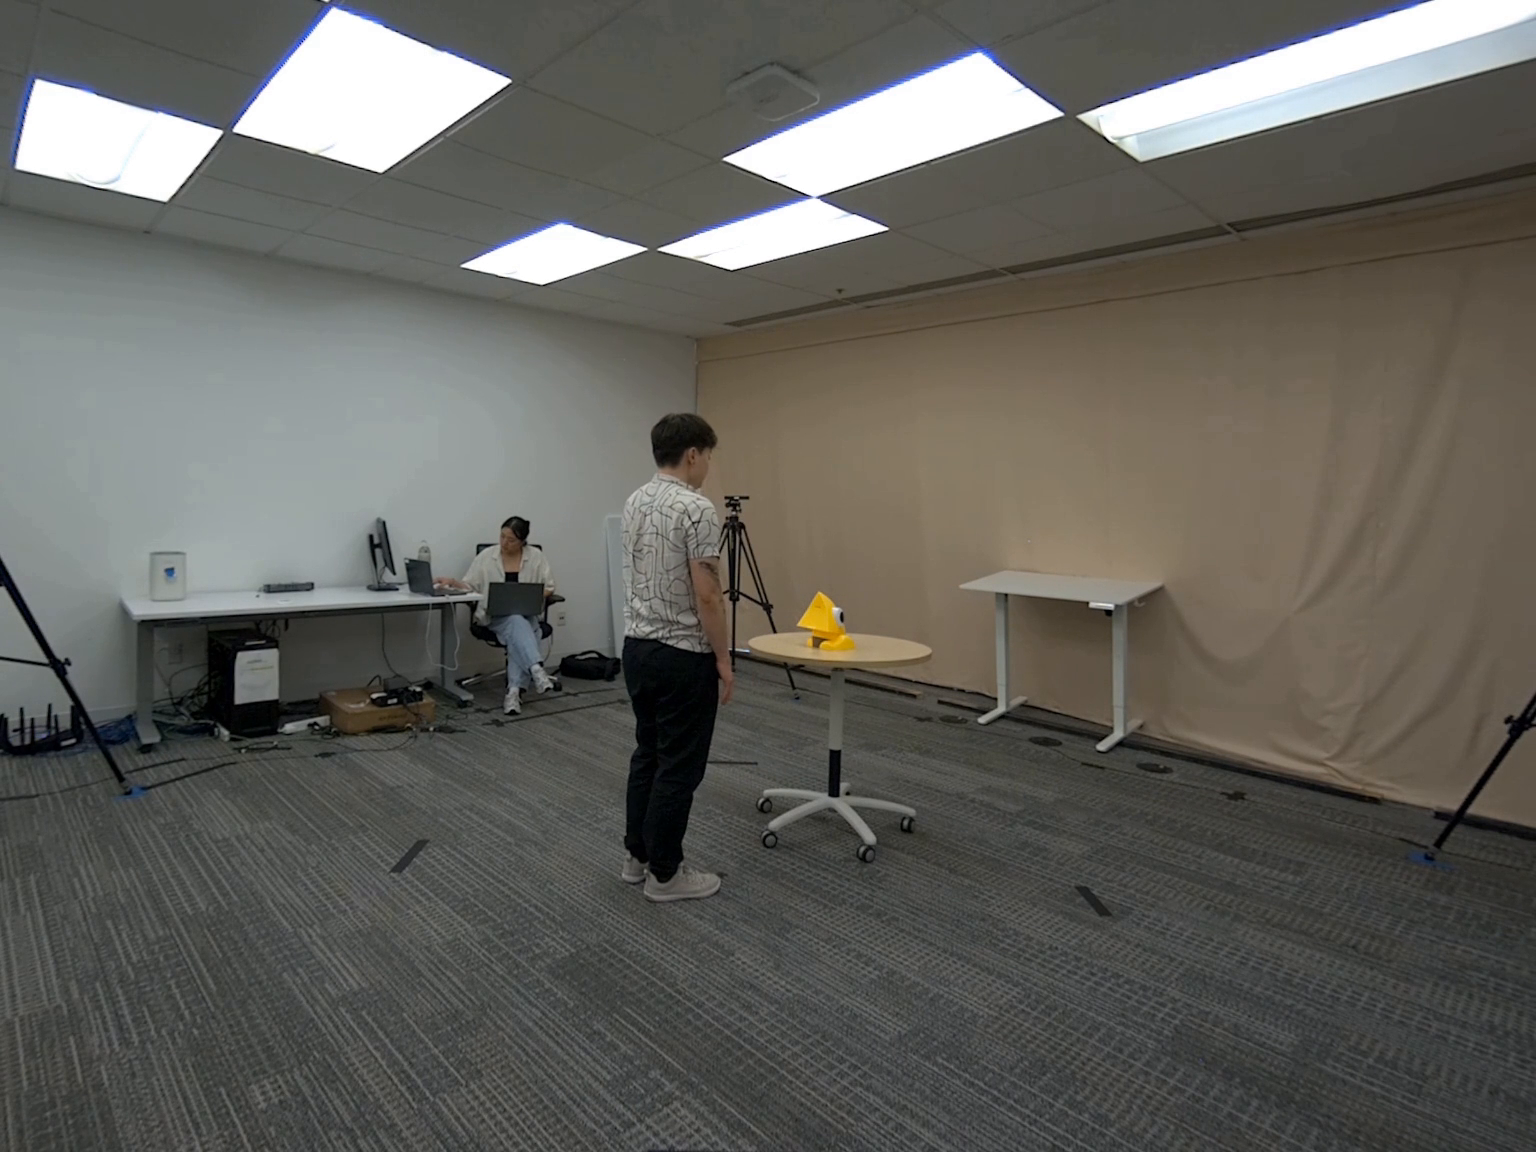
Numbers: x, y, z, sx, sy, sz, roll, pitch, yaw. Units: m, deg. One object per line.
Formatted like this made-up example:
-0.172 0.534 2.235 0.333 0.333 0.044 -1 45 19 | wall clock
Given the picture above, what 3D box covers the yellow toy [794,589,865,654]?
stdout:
0.252 0.180 3.512 0.189 0.230 0.210 -1 4 -36 | yellow toy
